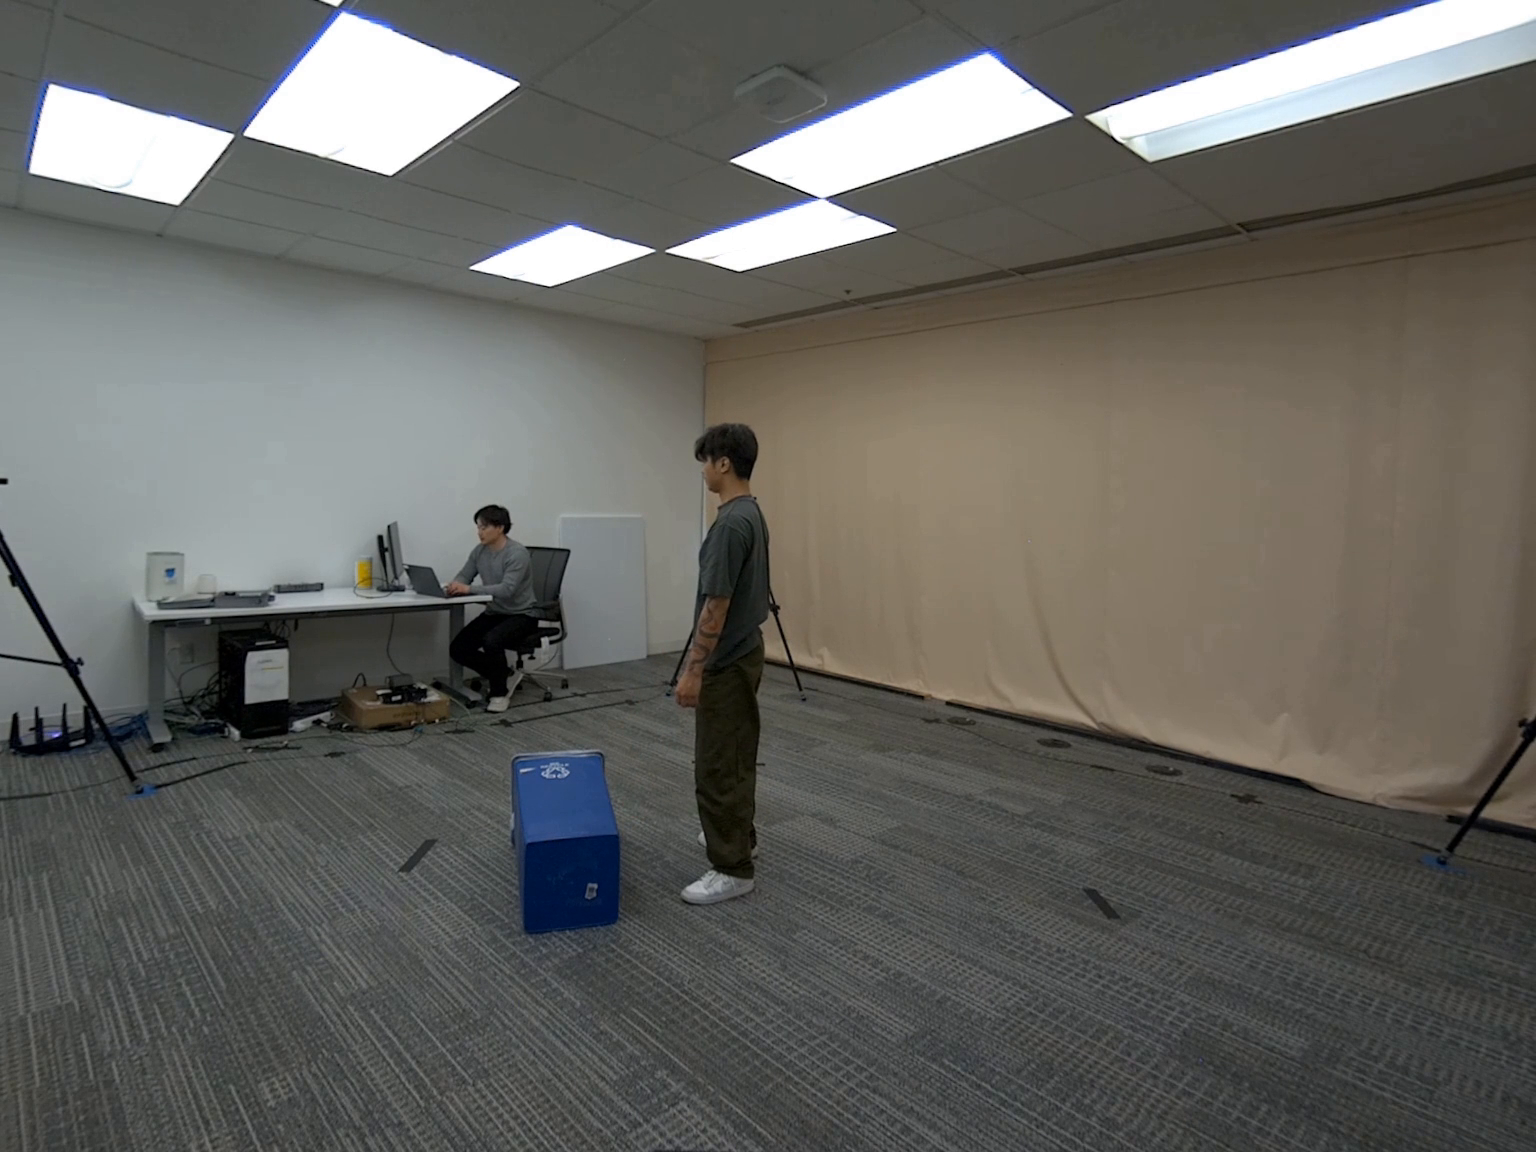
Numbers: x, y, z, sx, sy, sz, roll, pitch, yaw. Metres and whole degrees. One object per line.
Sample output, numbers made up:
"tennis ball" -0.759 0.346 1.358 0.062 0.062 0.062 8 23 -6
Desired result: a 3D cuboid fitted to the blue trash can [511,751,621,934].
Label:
"blue trash can" -0.734 0.924 3.015 0.373 0.373 0.726 1 6 -18
